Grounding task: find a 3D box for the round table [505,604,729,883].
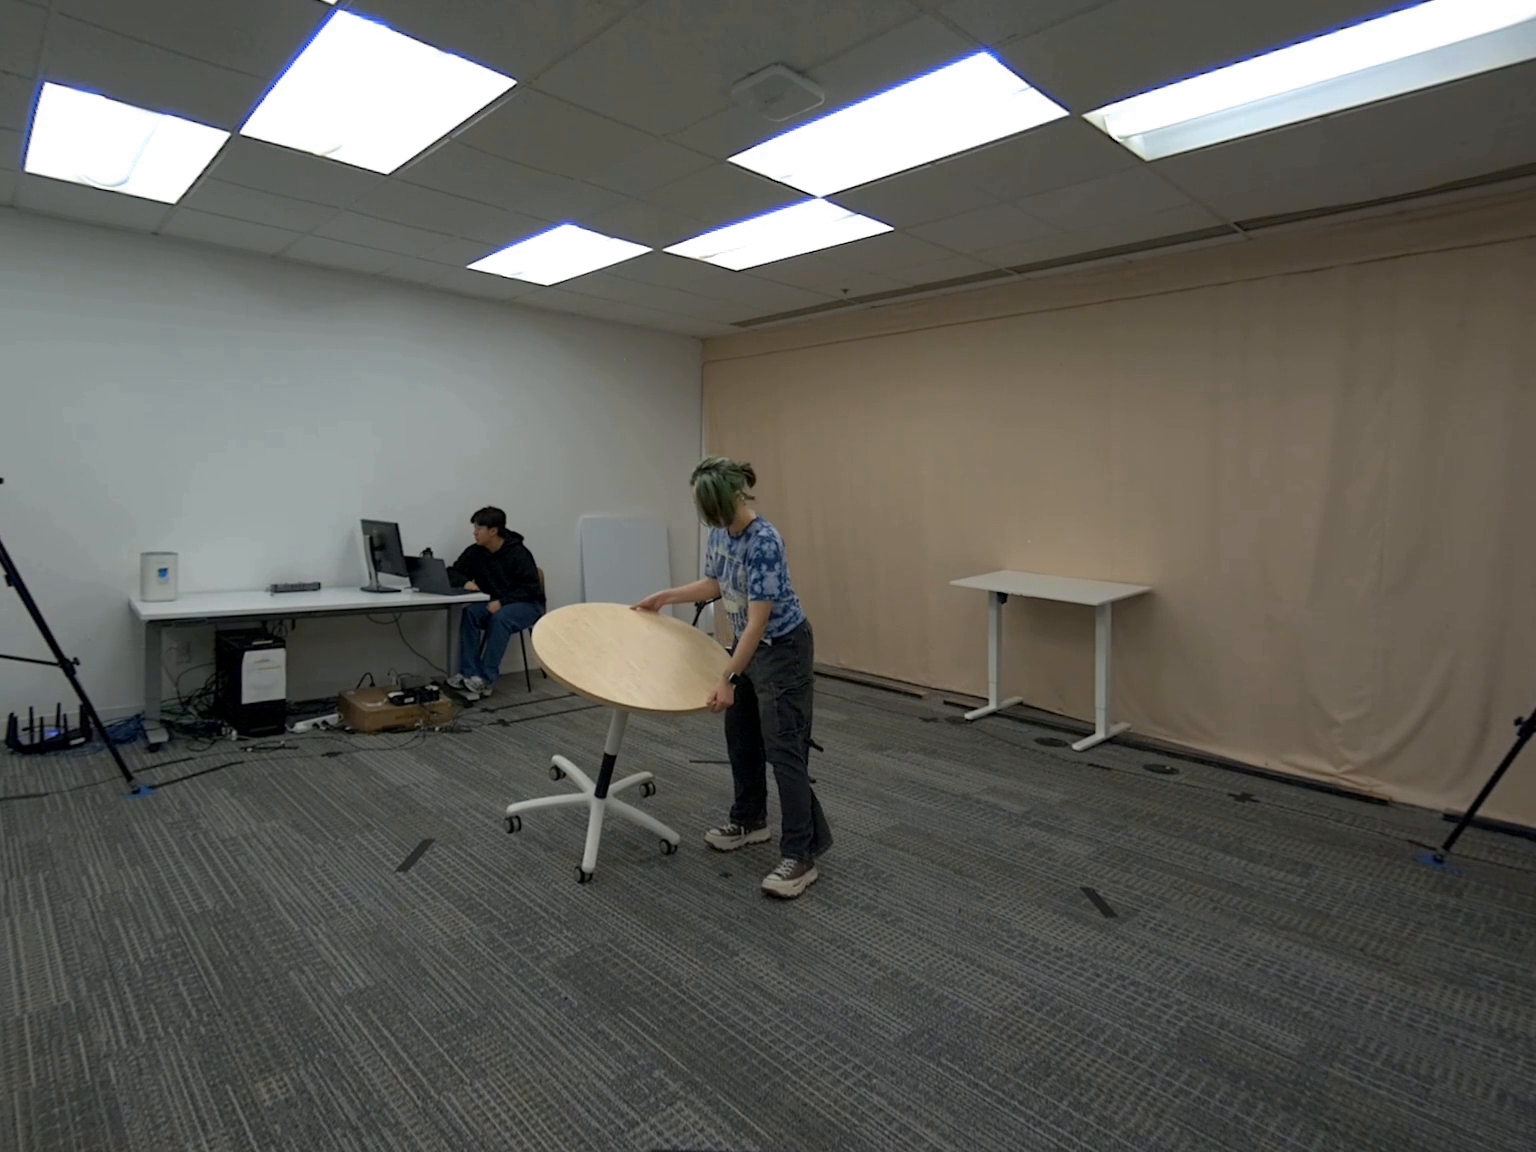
[{"bbox_3d":[-0.598,0.635,3.202,0.760,0.786,0.775,13,19,-6],"label":"round table"}]
